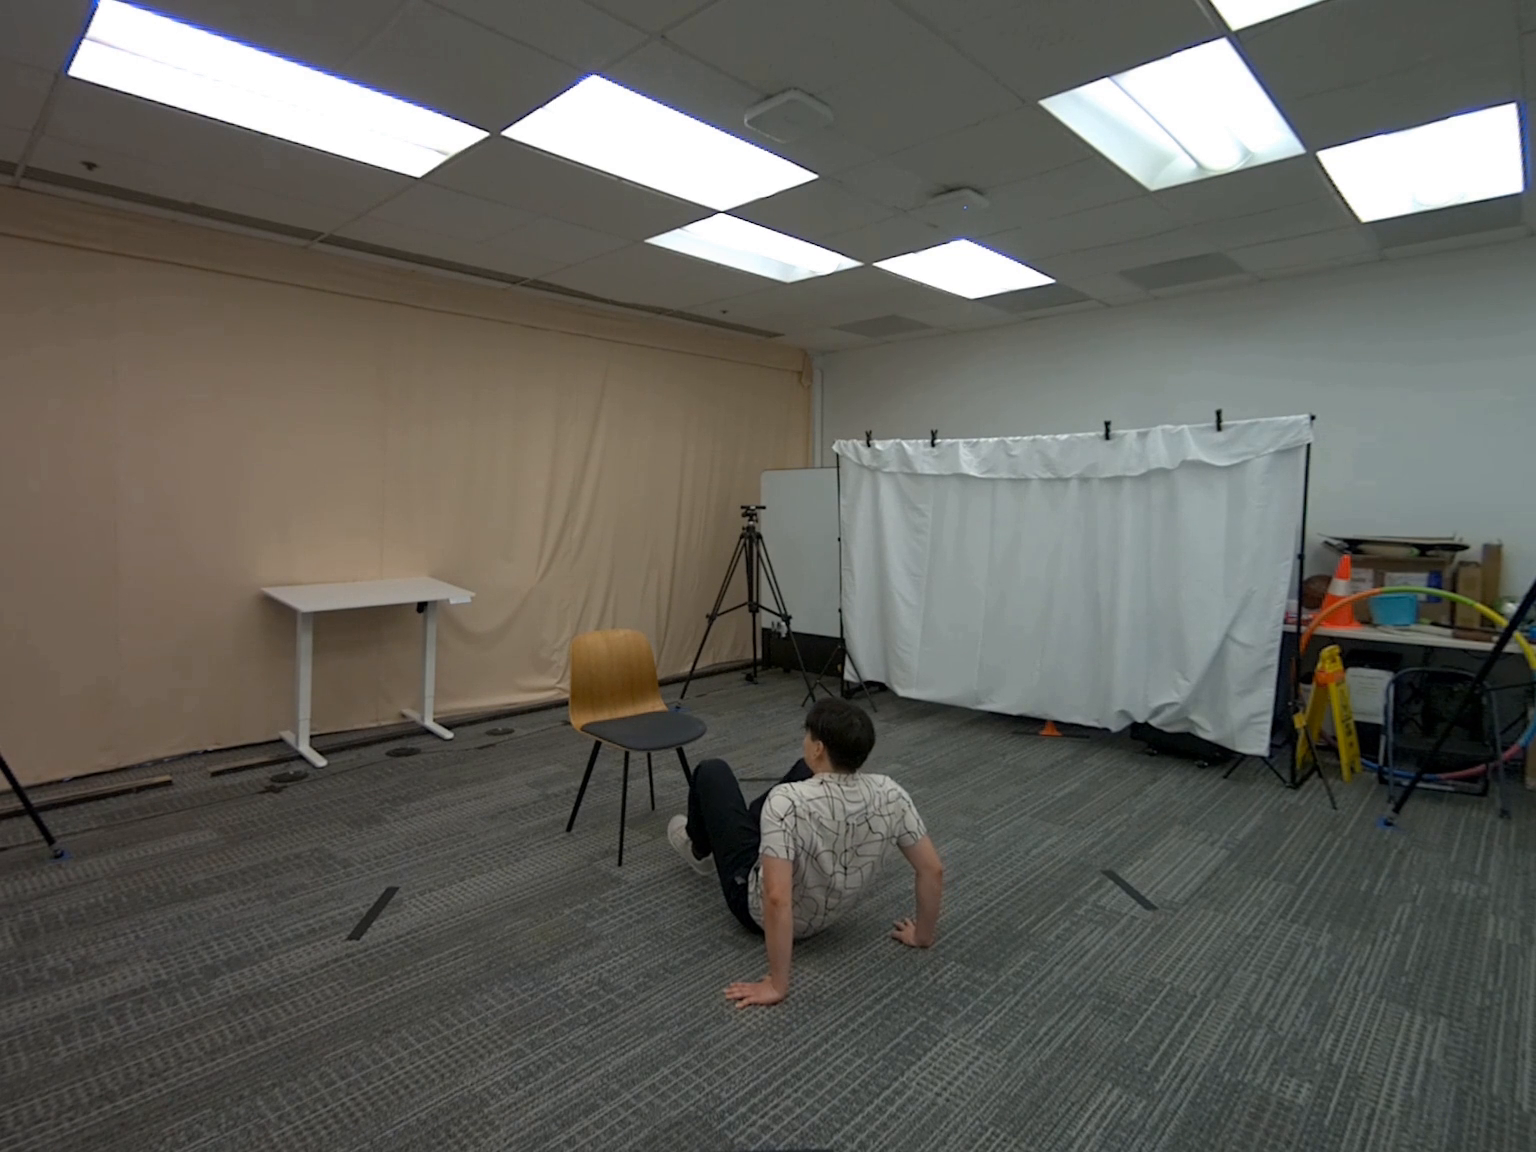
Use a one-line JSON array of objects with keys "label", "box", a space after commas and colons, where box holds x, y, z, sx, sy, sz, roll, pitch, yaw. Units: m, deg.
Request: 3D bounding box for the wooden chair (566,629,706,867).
[{"label": "wooden chair", "box": [-0.547, 0.674, 3.537, 0.464, 0.878, 0.539, -2, -1, -38]}]
